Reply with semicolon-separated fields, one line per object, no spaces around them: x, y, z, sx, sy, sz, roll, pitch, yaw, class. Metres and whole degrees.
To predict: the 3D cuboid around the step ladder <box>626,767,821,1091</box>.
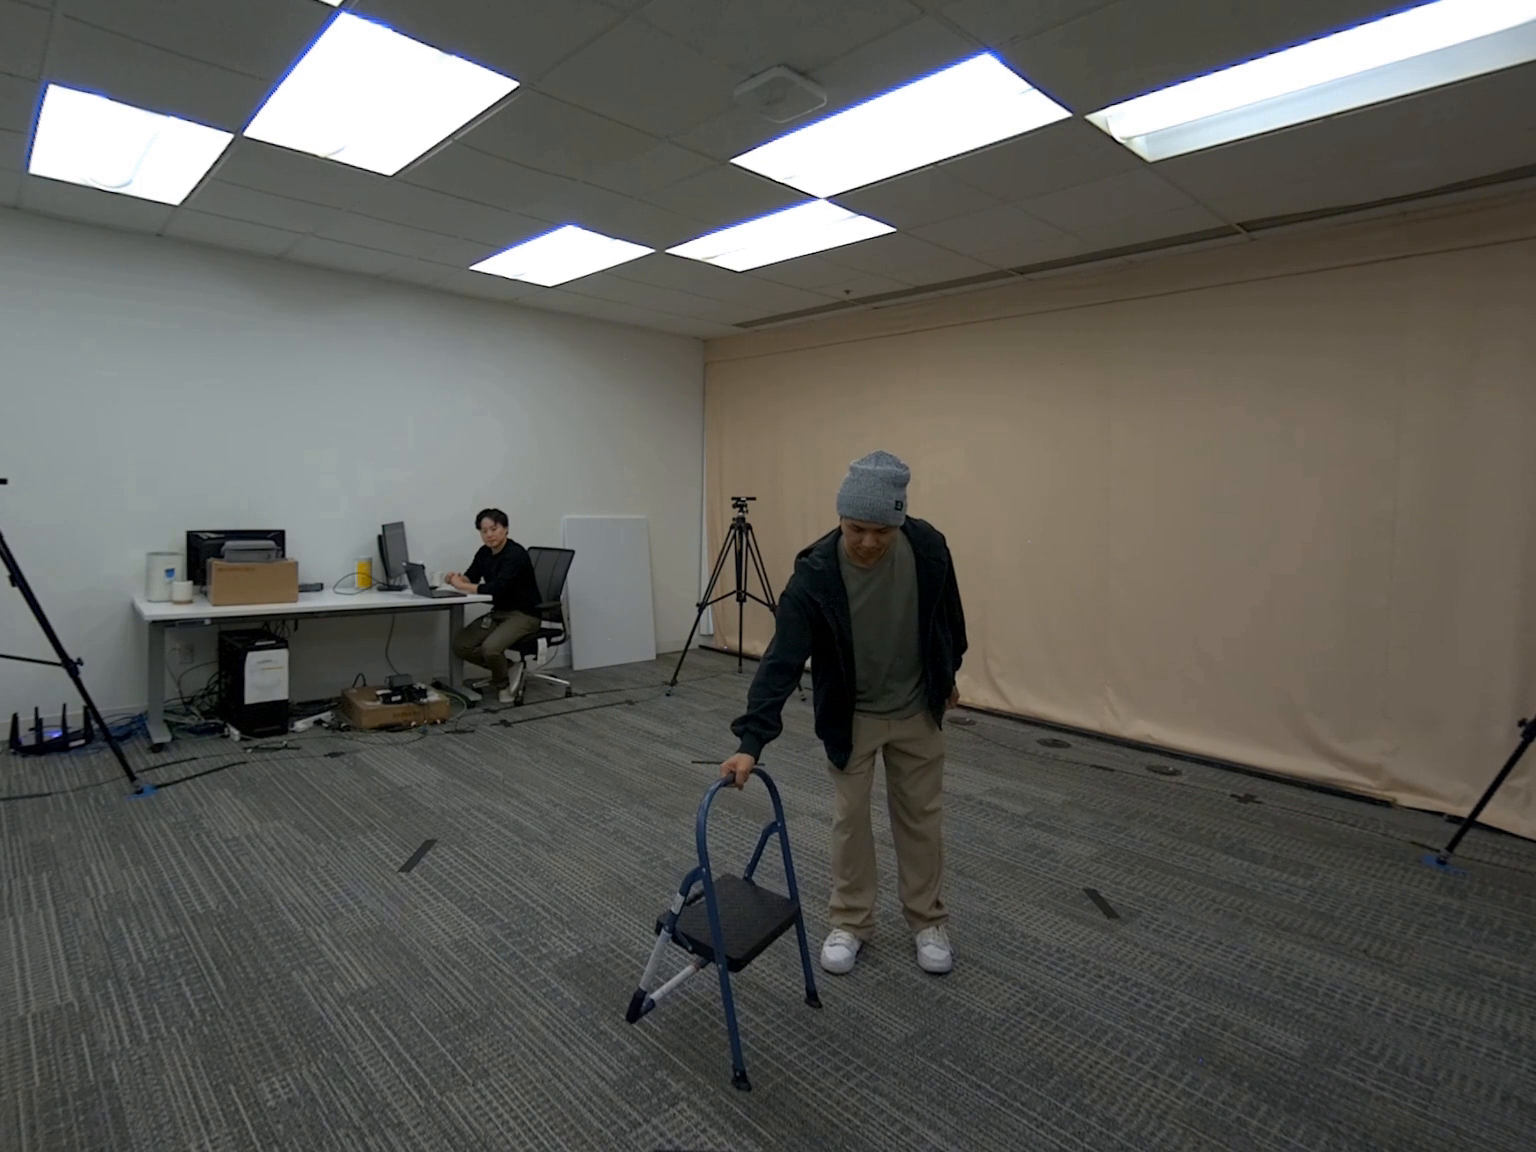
-0.073;0.820;2.112;0.357;0.605;0.422;11;4;27;step ladder
